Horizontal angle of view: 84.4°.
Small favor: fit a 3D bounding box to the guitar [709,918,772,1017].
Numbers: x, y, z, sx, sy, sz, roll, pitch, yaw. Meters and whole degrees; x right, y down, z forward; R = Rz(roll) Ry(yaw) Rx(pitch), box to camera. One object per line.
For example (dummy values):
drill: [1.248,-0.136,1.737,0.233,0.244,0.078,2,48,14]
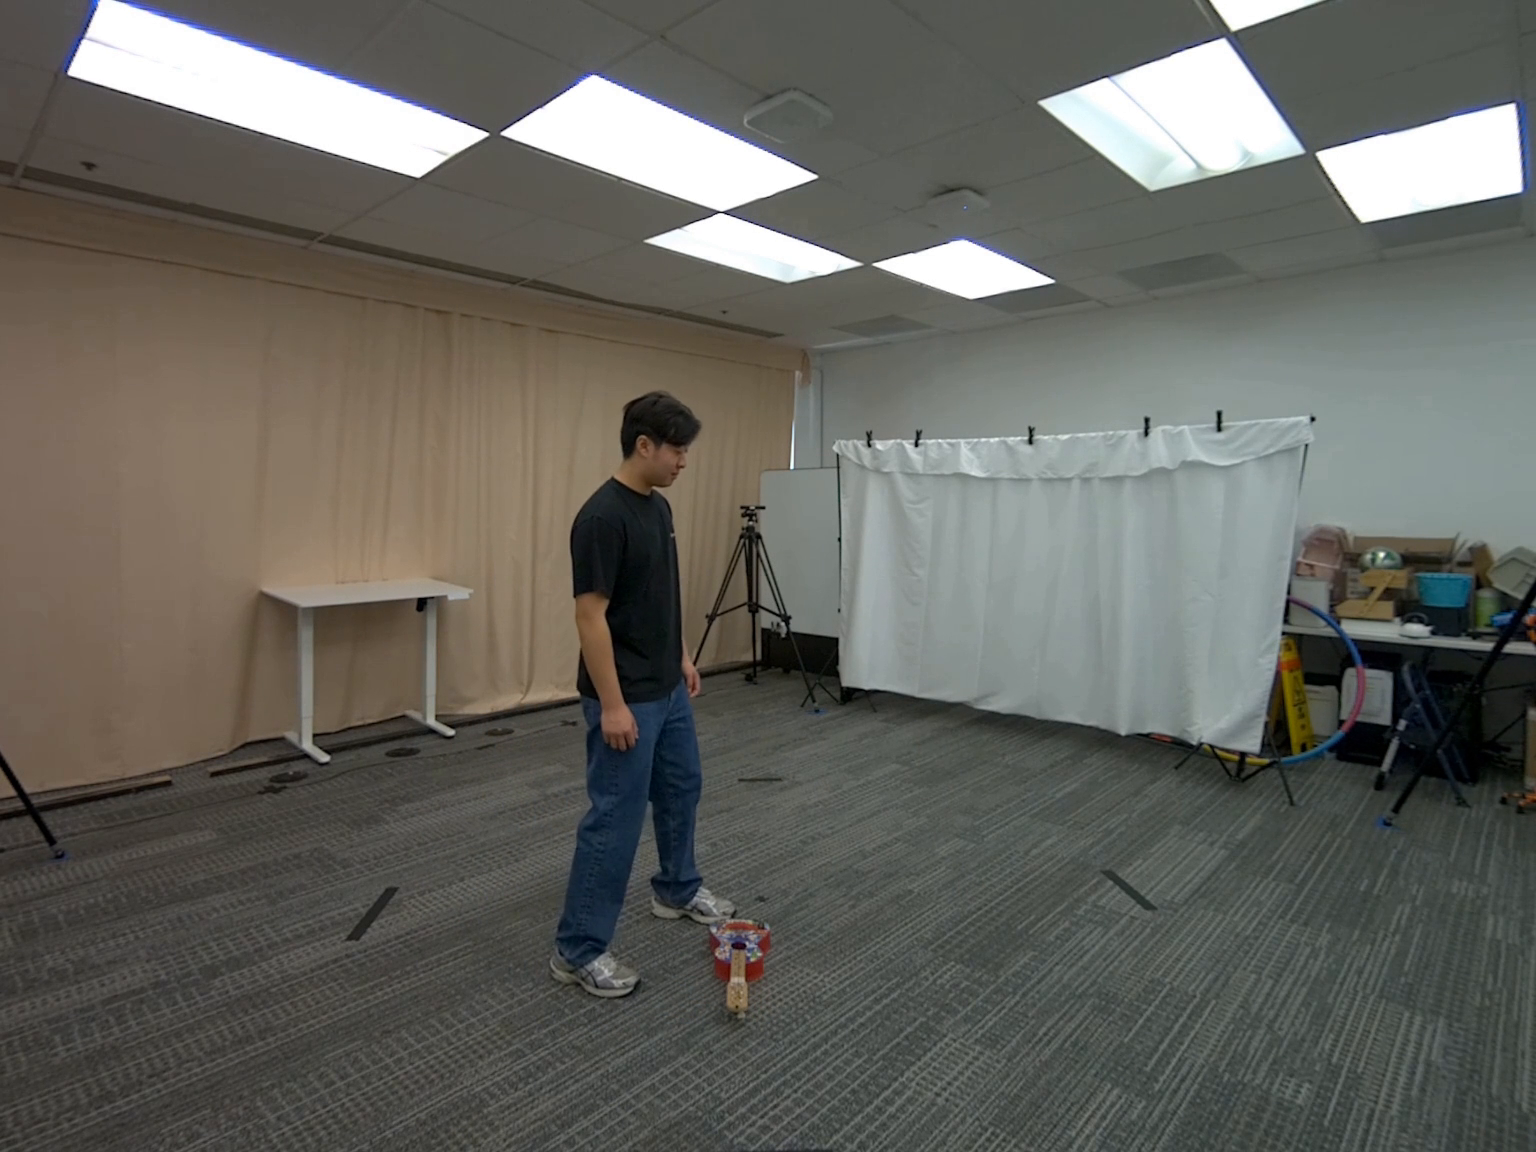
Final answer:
guitar: [-0.109,1.150,2.479,0.195,0.070,0.494,1,4,7]
